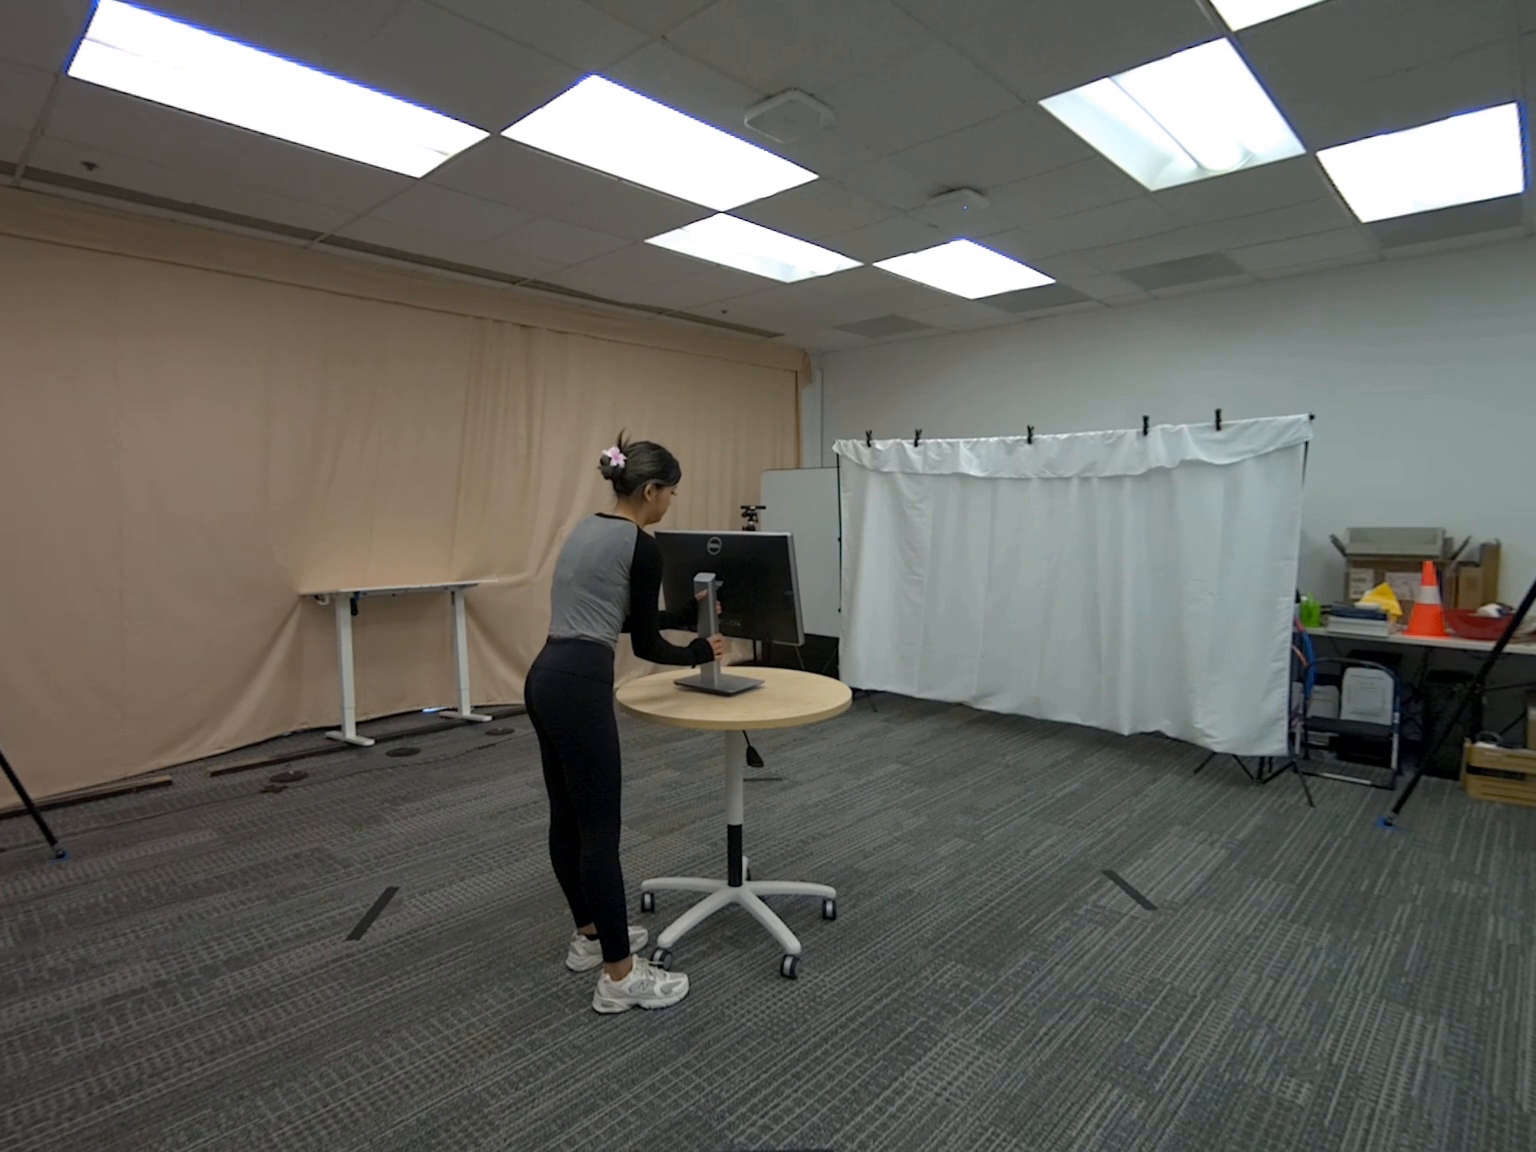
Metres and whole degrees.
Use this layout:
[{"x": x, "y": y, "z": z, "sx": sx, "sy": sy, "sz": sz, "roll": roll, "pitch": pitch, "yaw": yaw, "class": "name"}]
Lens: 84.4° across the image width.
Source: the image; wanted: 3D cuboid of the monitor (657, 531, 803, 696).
[{"x": -0.152, "y": 0.112, "z": 2.772, "sx": 0.547, "sy": 0.517, "sz": 0.169, "roll": 2, "pitch": -3, "yaw": 37, "class": "monitor"}]
